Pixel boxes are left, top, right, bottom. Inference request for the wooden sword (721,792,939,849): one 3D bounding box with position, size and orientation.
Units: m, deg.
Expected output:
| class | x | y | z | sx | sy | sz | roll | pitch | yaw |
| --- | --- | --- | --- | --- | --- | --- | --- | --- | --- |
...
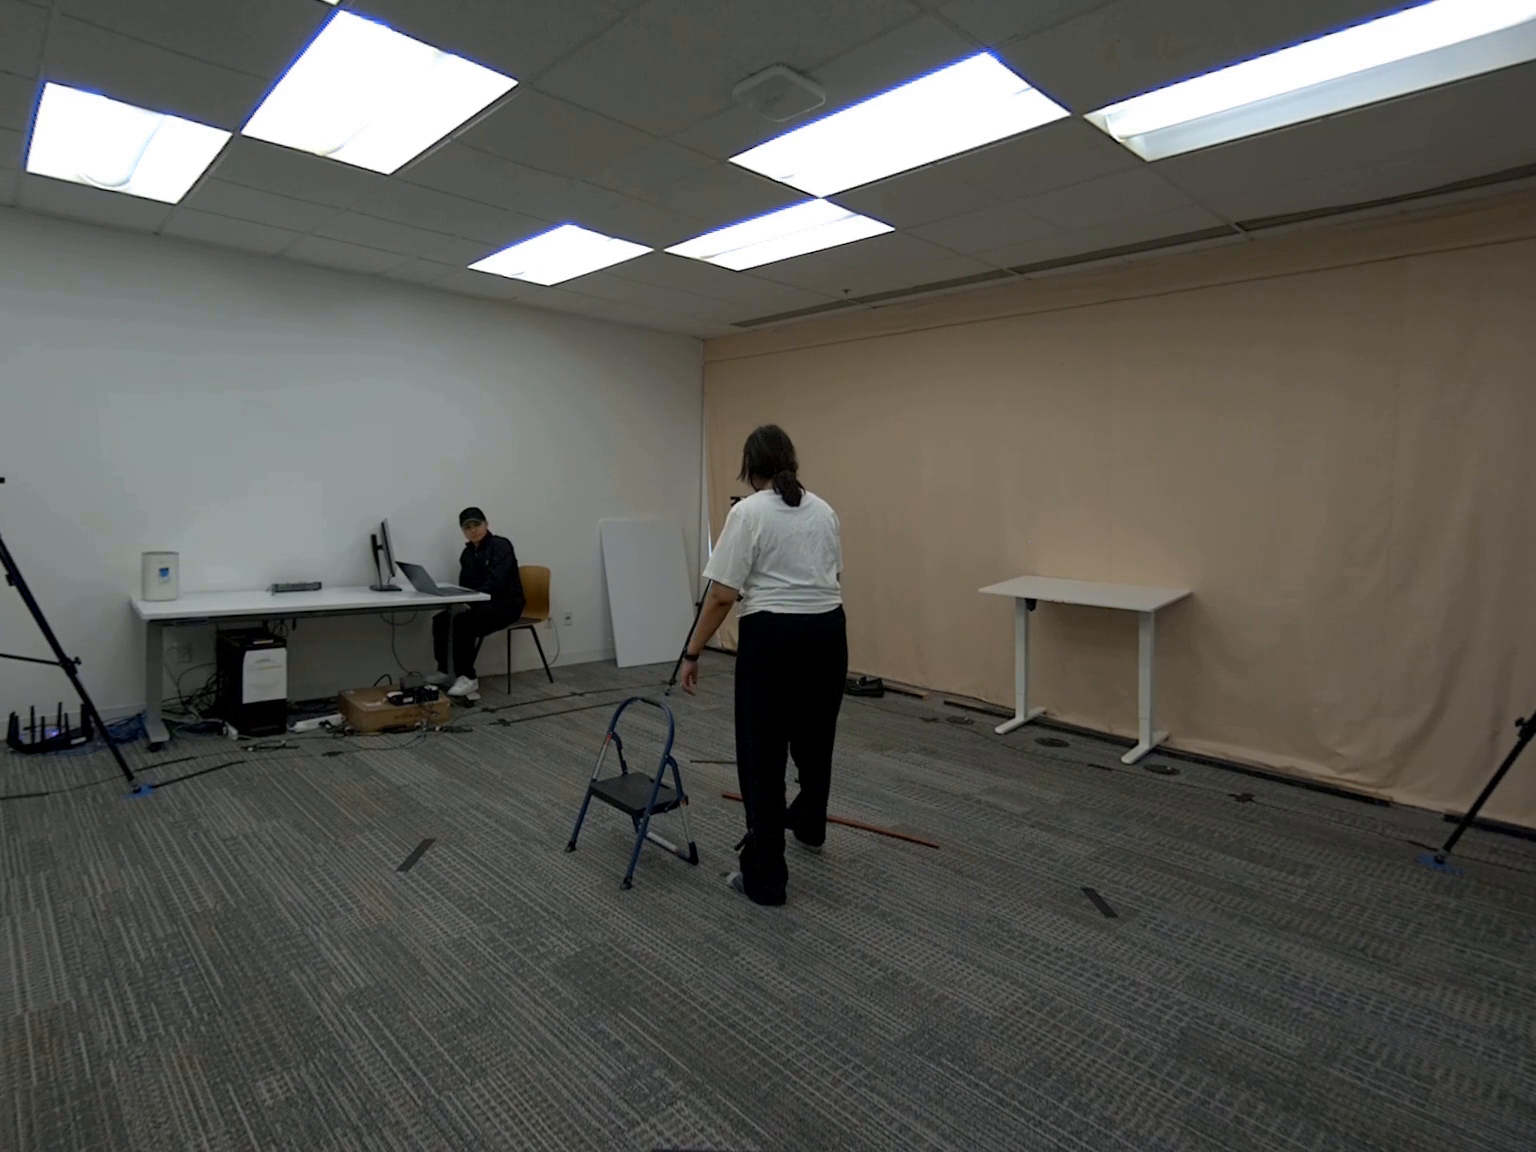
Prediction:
| class | x | y | z | sx | sy | sz | roll | pitch | yaw |
| --- | --- | --- | --- | --- | --- | --- | --- | --- | --- |
| wooden sword | 0.226 | 1.039 | 3.663 | 1.048 | 0.024 | 0.050 | 4 | 13 | 32 |
